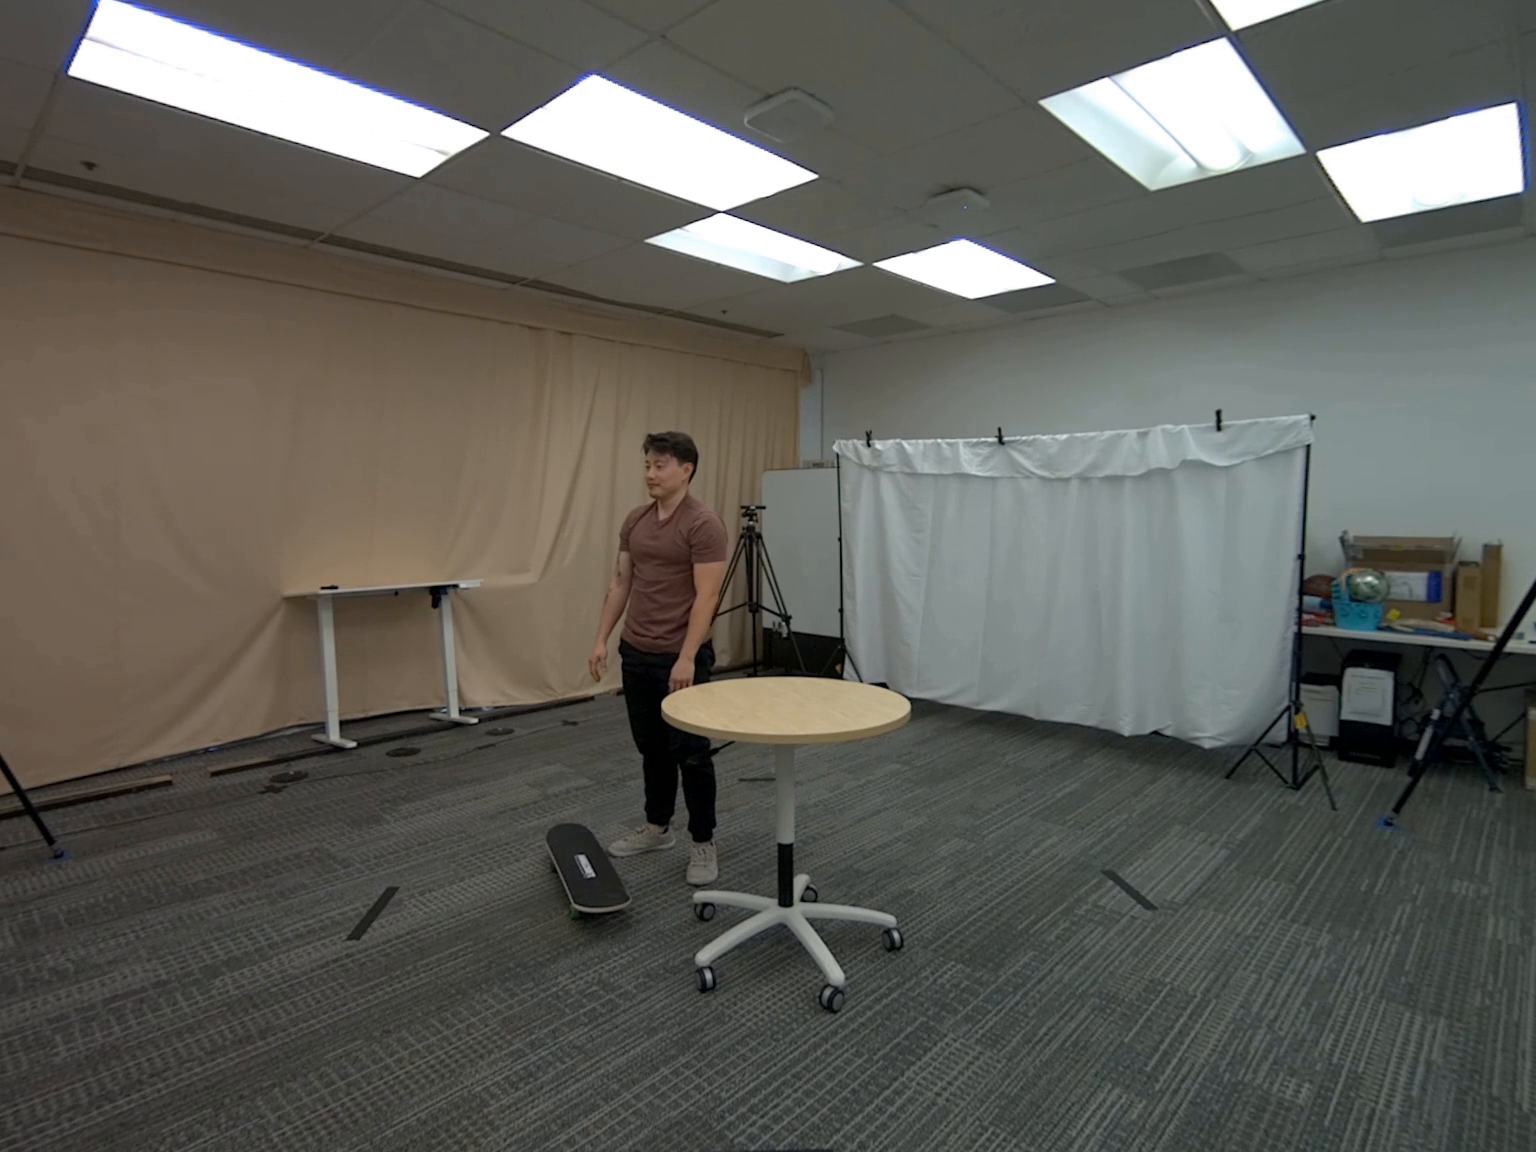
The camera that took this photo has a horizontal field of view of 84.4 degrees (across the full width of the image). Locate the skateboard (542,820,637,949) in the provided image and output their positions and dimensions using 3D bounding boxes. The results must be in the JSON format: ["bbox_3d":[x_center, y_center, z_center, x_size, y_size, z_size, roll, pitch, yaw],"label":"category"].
[{"bbox_3d":[-0.667,1.085,3.064,0.189,0.110,0.804,-2,5,-22],"label":"skateboard"}]
